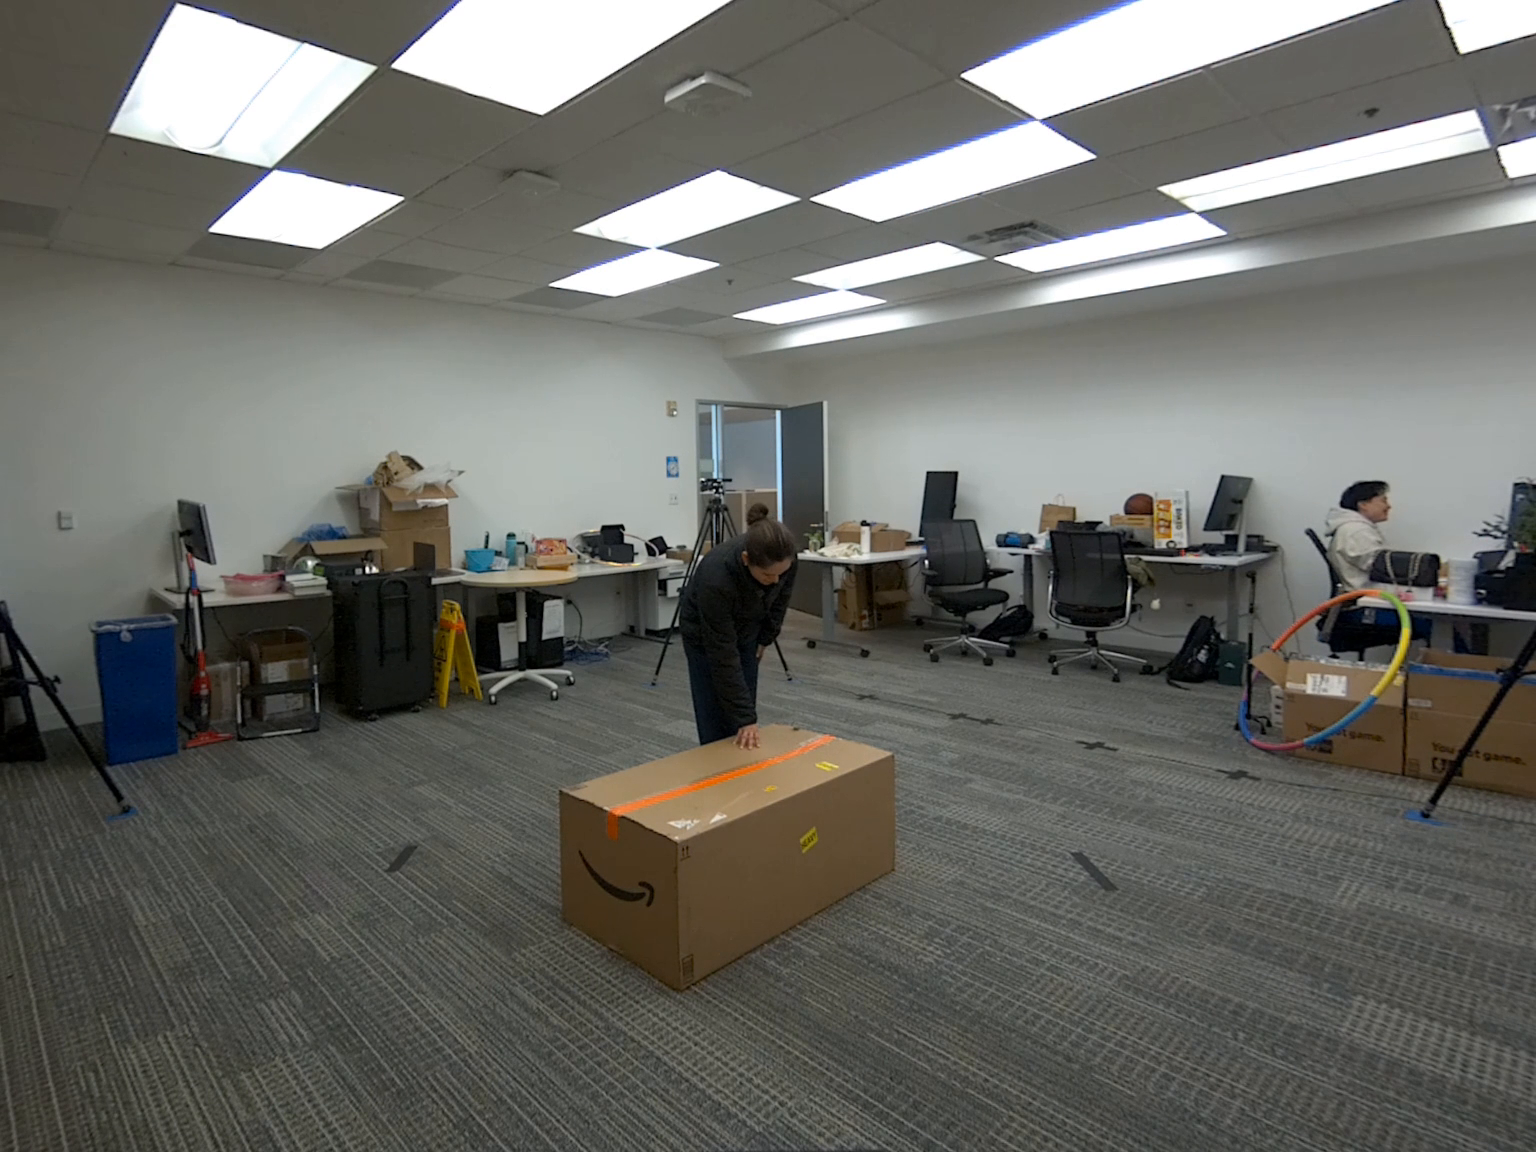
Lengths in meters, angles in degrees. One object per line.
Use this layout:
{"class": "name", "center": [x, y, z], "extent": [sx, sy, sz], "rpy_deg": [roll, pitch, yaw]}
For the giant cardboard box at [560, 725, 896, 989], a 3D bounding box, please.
{"class": "giant cardboard box", "center": [-0.105, 0.863, 2.885], "extent": [0.601, 0.445, 1.001], "rpy_deg": [3, 7, 44]}
